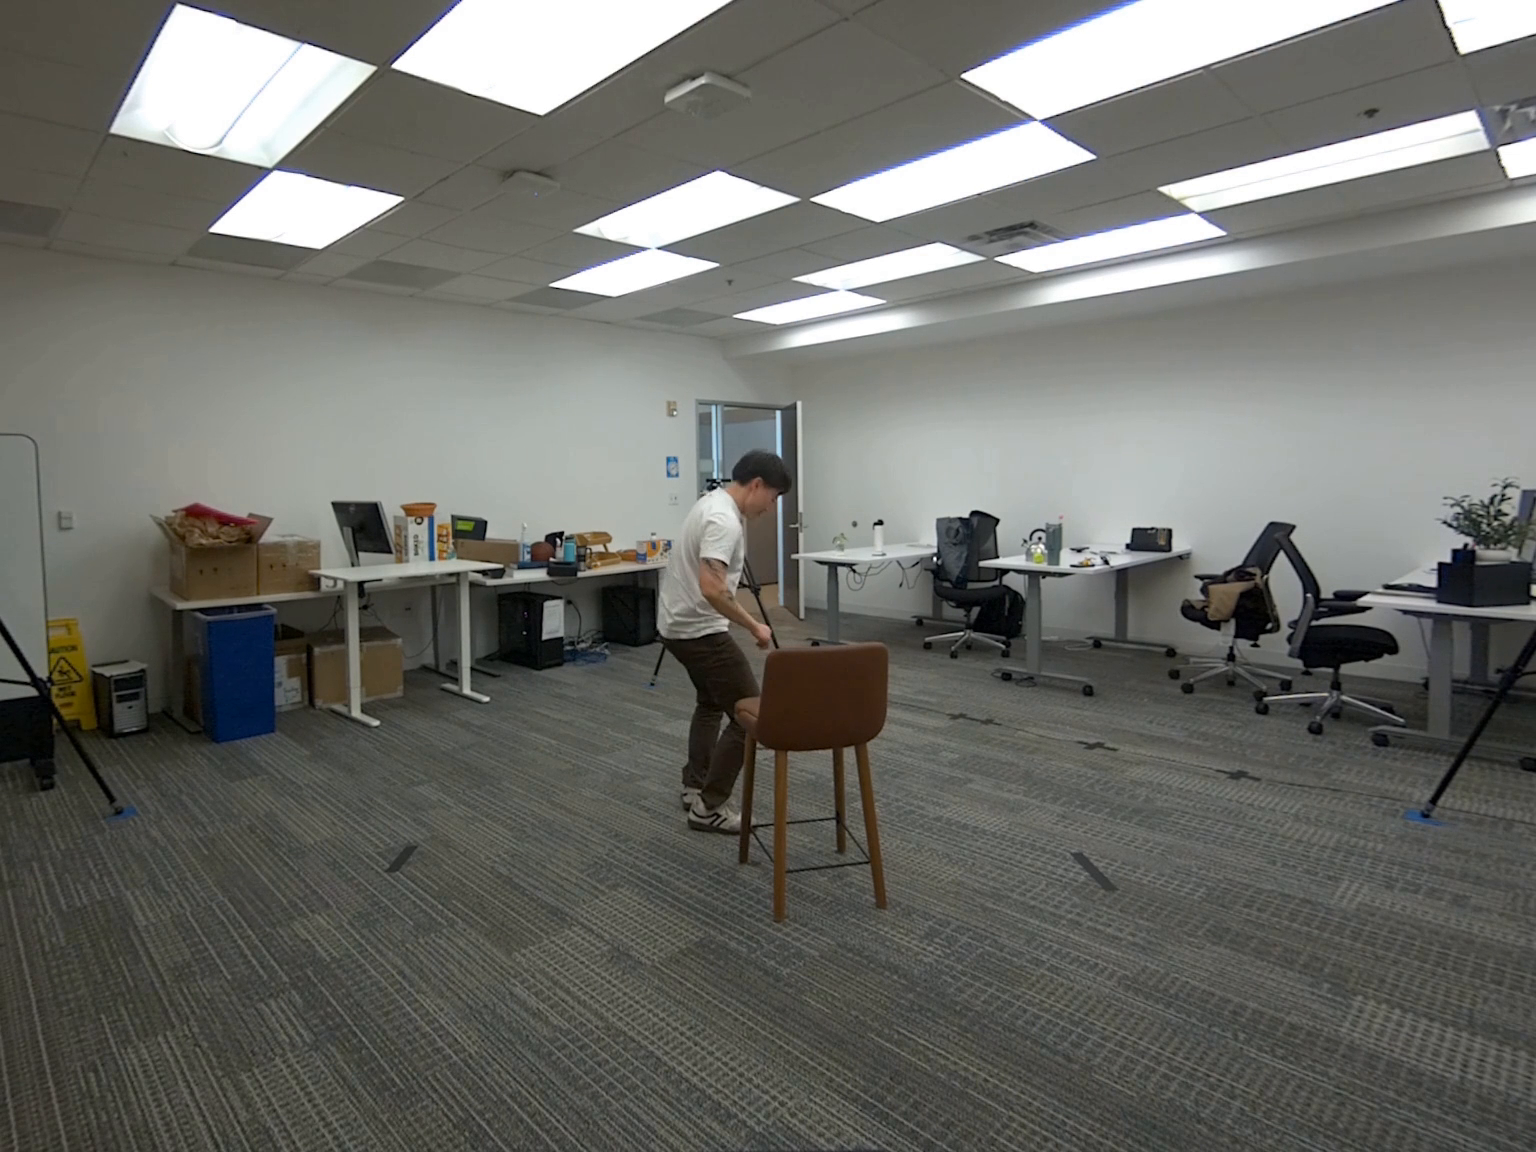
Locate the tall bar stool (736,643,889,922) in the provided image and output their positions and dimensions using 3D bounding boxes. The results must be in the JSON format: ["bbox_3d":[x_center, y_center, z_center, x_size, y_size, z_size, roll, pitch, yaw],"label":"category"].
[{"bbox_3d":[0.145,0.629,2.913,0.451,0.885,0.476,-2,6,-14],"label":"tall bar stool"}]
